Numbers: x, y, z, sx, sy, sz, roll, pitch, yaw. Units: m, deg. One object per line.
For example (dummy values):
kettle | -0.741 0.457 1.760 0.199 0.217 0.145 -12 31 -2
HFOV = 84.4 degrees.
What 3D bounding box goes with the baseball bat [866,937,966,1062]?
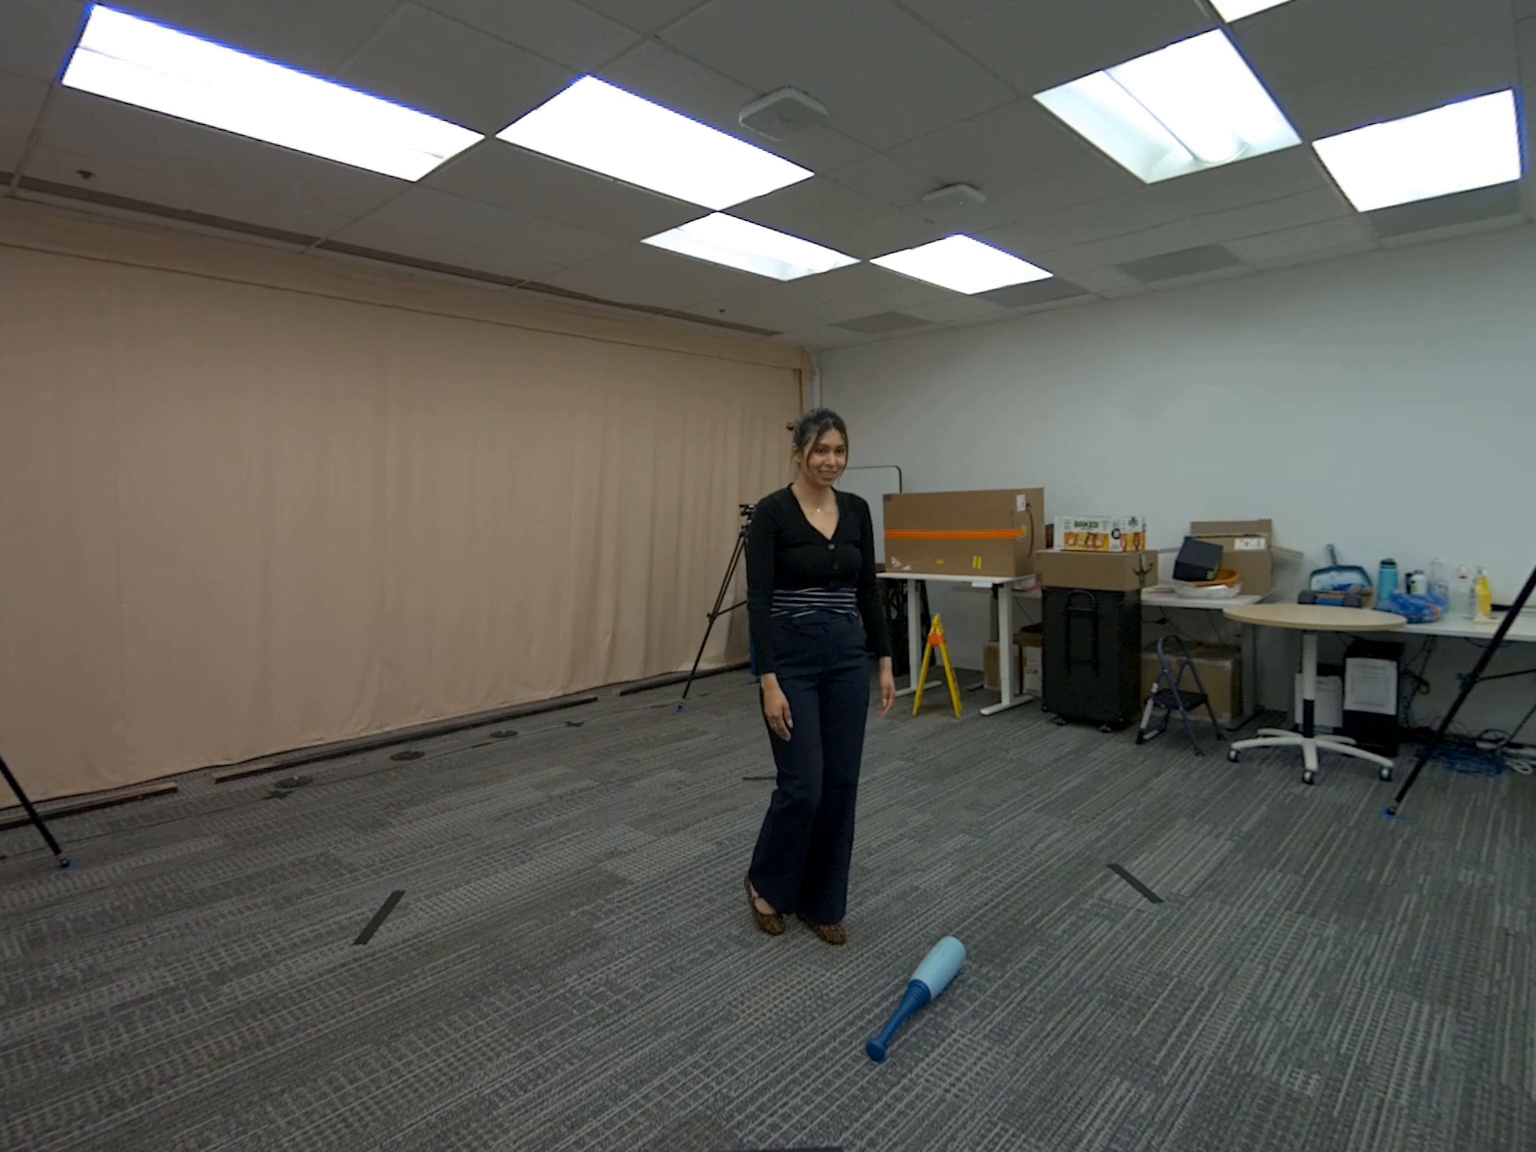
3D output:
baseball bat | 0.418 1.155 2.306 0.092 0.089 0.528 2 8 35
